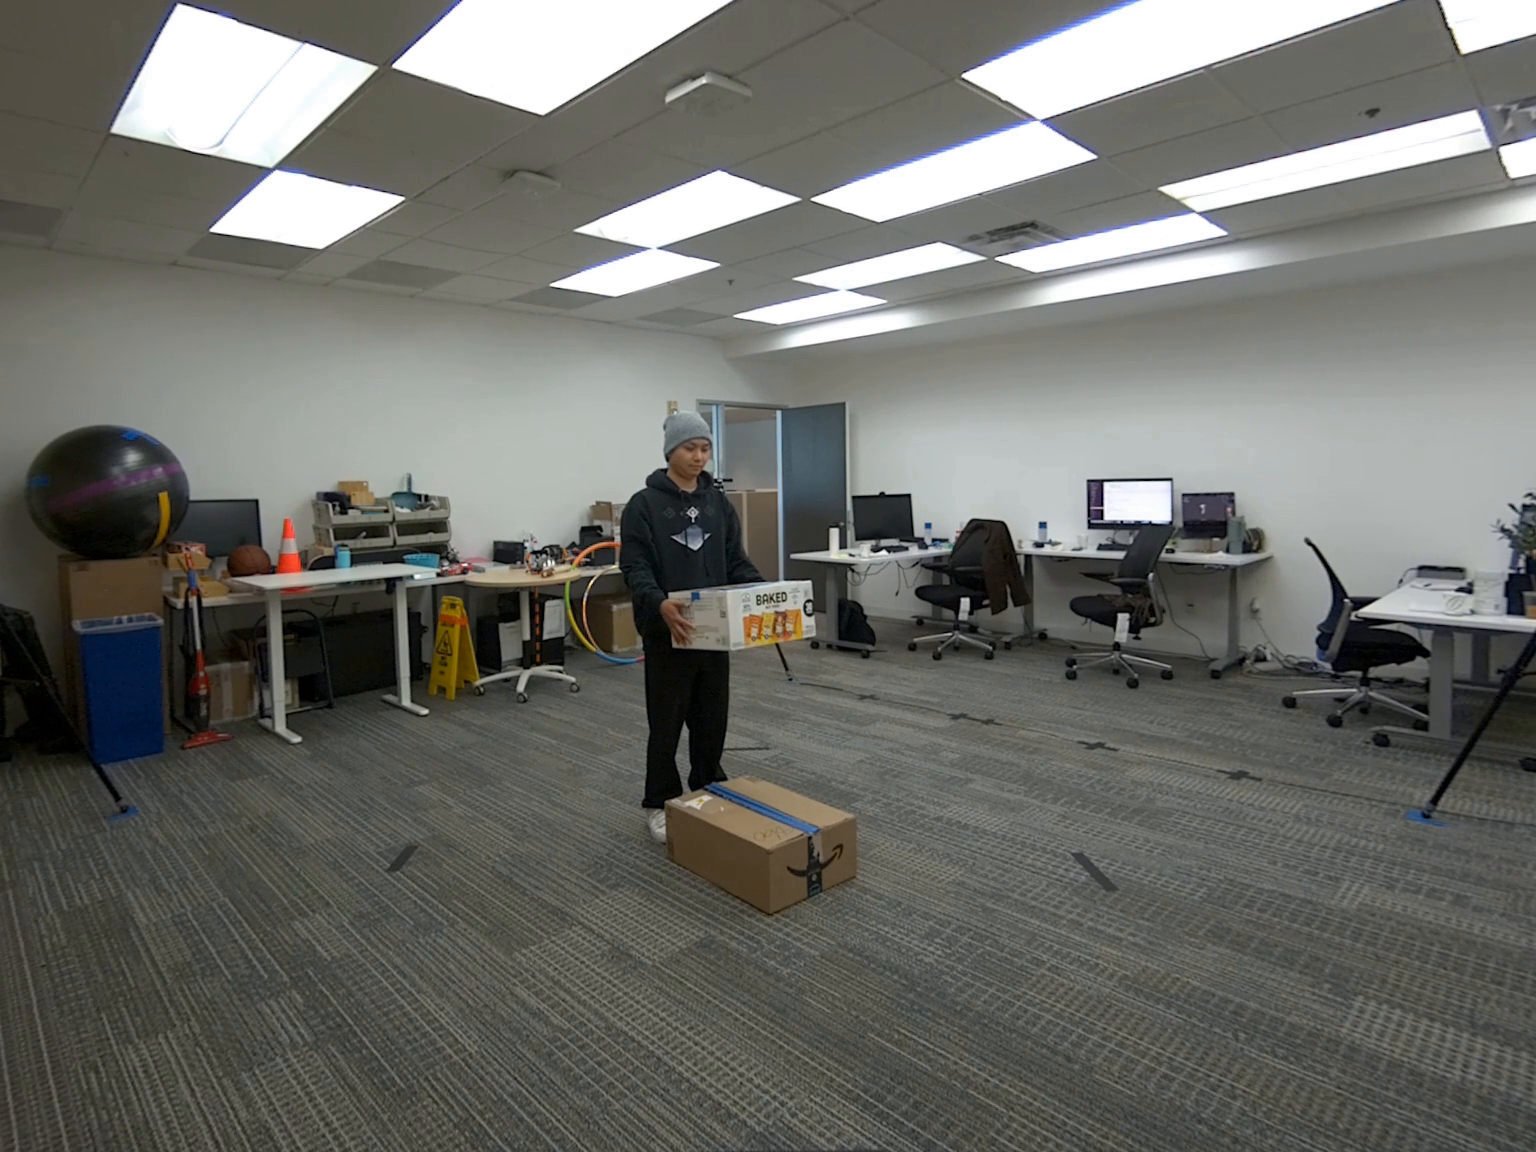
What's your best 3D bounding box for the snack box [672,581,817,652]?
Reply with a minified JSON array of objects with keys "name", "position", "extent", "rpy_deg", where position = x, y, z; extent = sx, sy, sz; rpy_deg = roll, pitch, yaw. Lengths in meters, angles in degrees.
[{"name":"snack box","position":[-0.092,0.140,3.094],"extent":[0.394,0.206,0.349],"rpy_deg":[-6,1,-40]}]
